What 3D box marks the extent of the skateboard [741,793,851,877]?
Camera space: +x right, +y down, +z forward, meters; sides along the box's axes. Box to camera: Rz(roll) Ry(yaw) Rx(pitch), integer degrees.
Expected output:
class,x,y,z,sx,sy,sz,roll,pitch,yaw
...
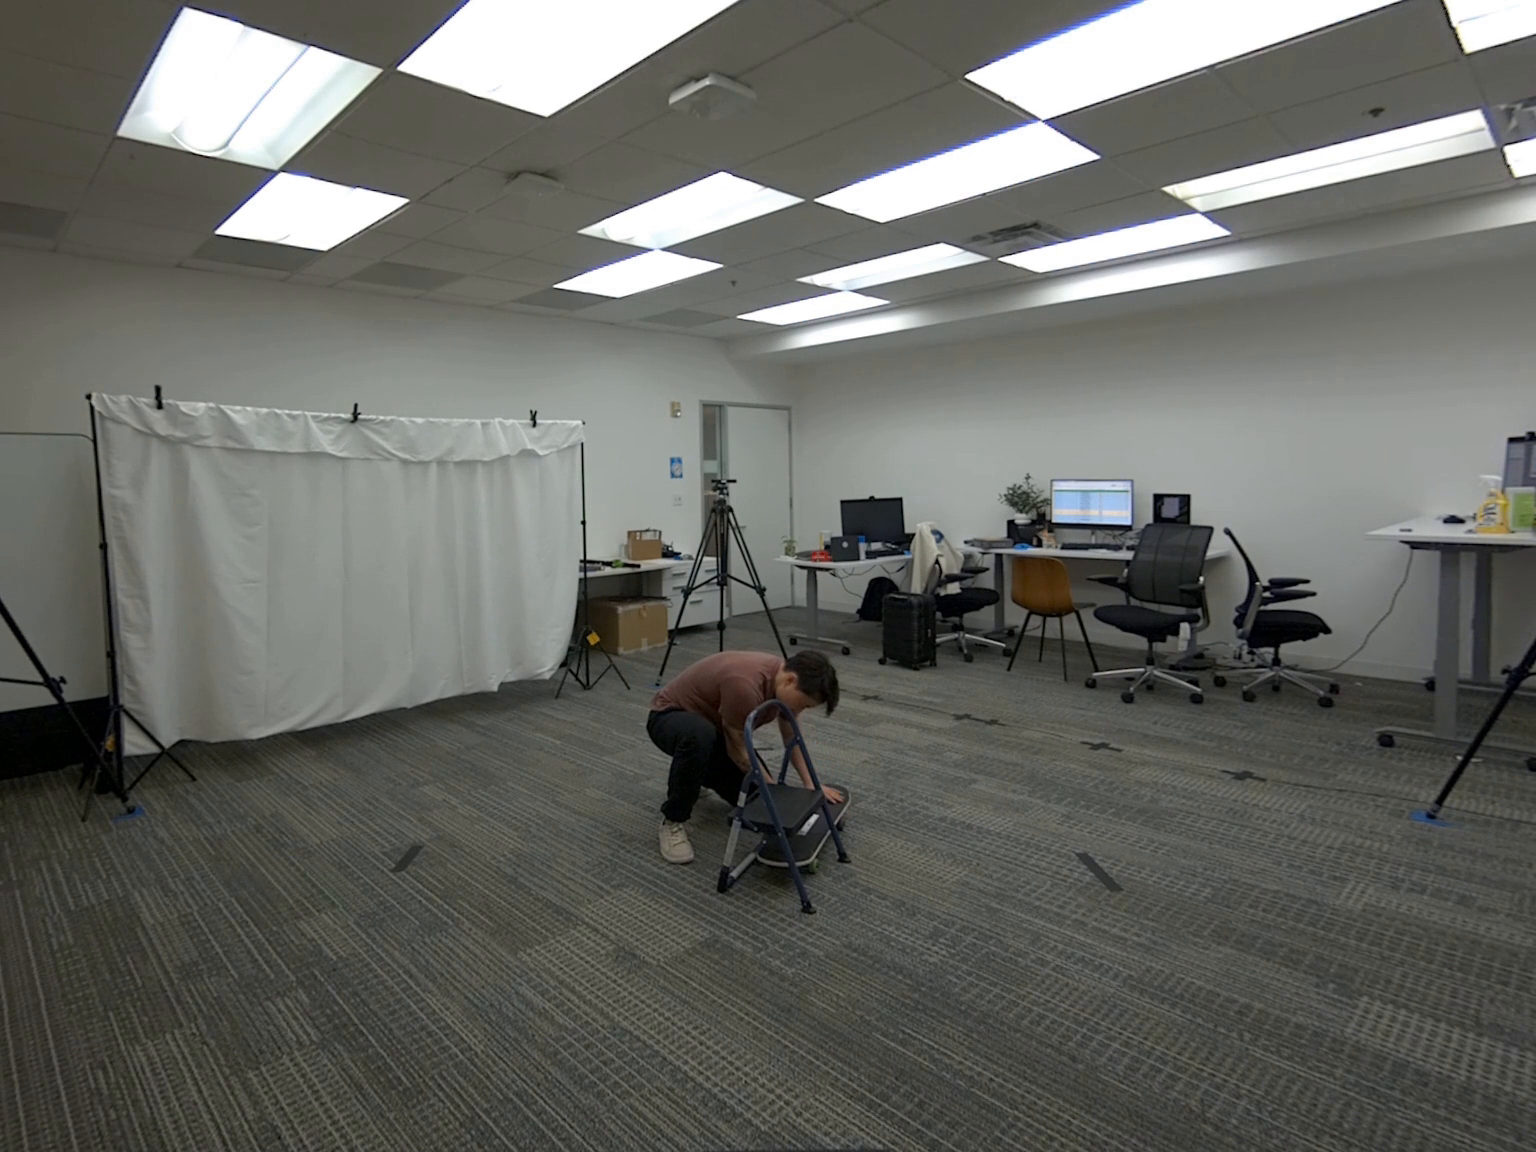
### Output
class,x,y,z,sx,sy,sz,roll,pitch,yaw
skateboard,0.148,0.971,3.229,0.197,0.110,0.774,0,6,18
